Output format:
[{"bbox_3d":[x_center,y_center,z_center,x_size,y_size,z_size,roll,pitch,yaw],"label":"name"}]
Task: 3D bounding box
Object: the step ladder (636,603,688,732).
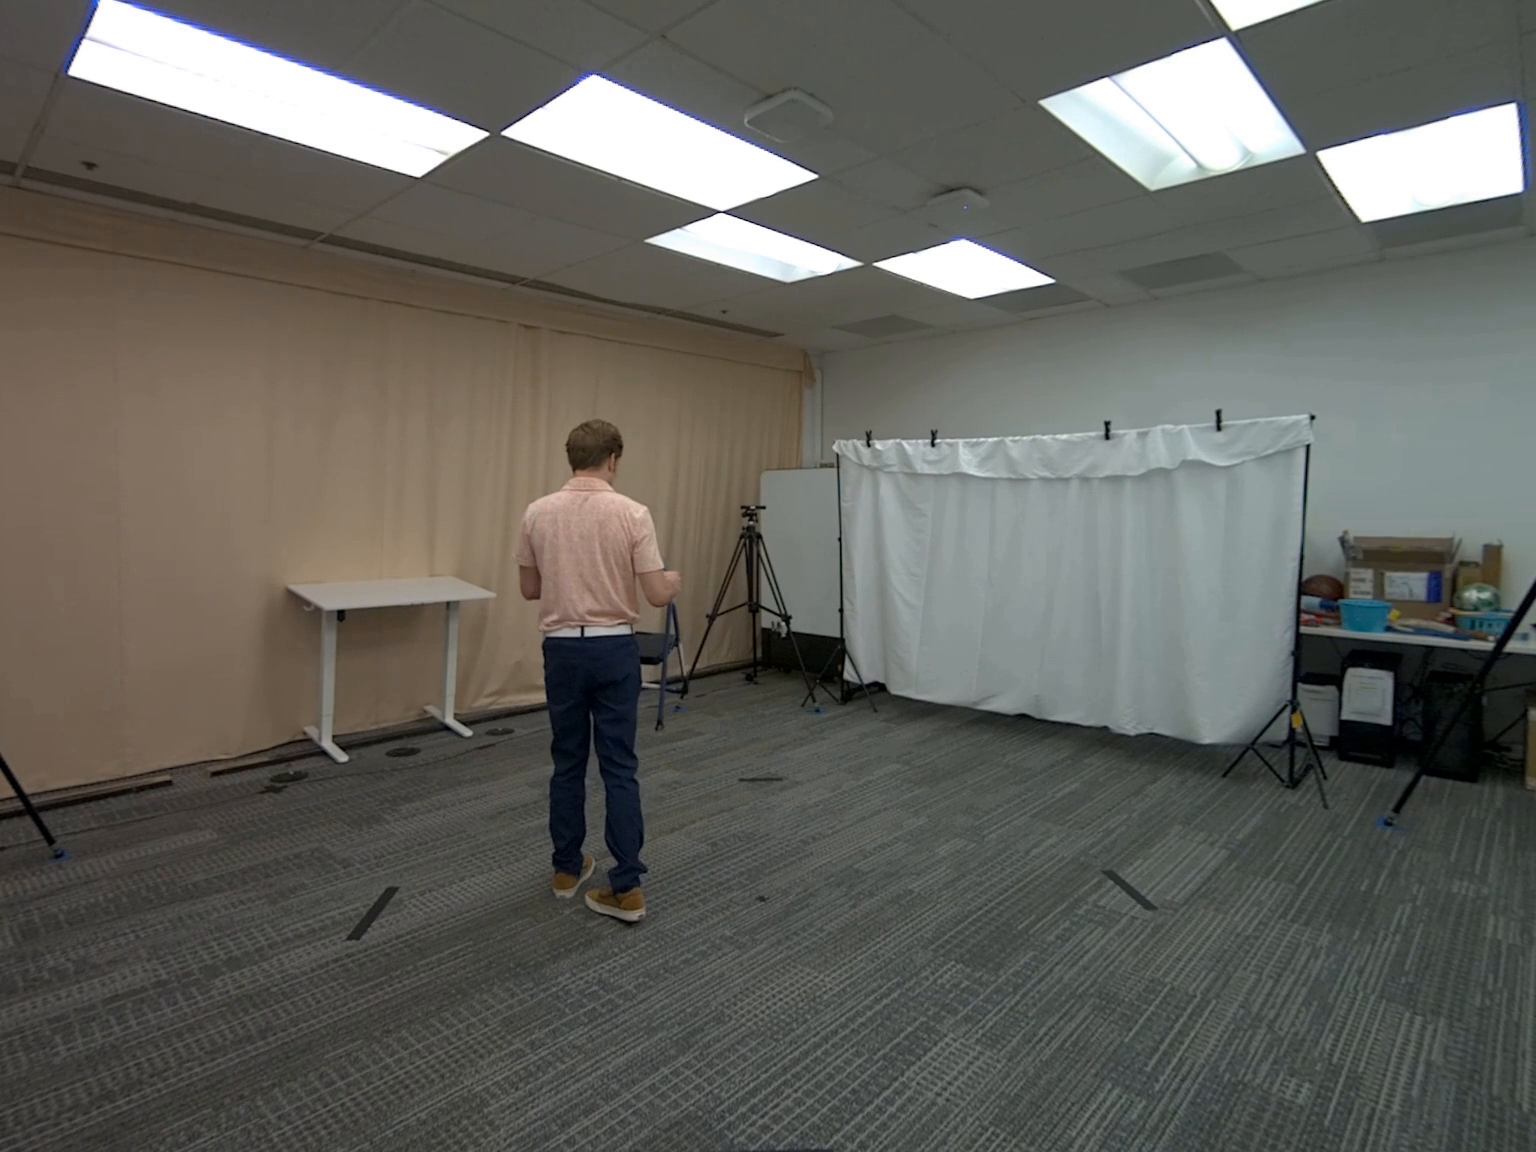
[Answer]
[{"bbox_3d":[-0.566,0.226,3.278,0.436,0.600,0.348,3,15,11],"label":"step ladder"}]
